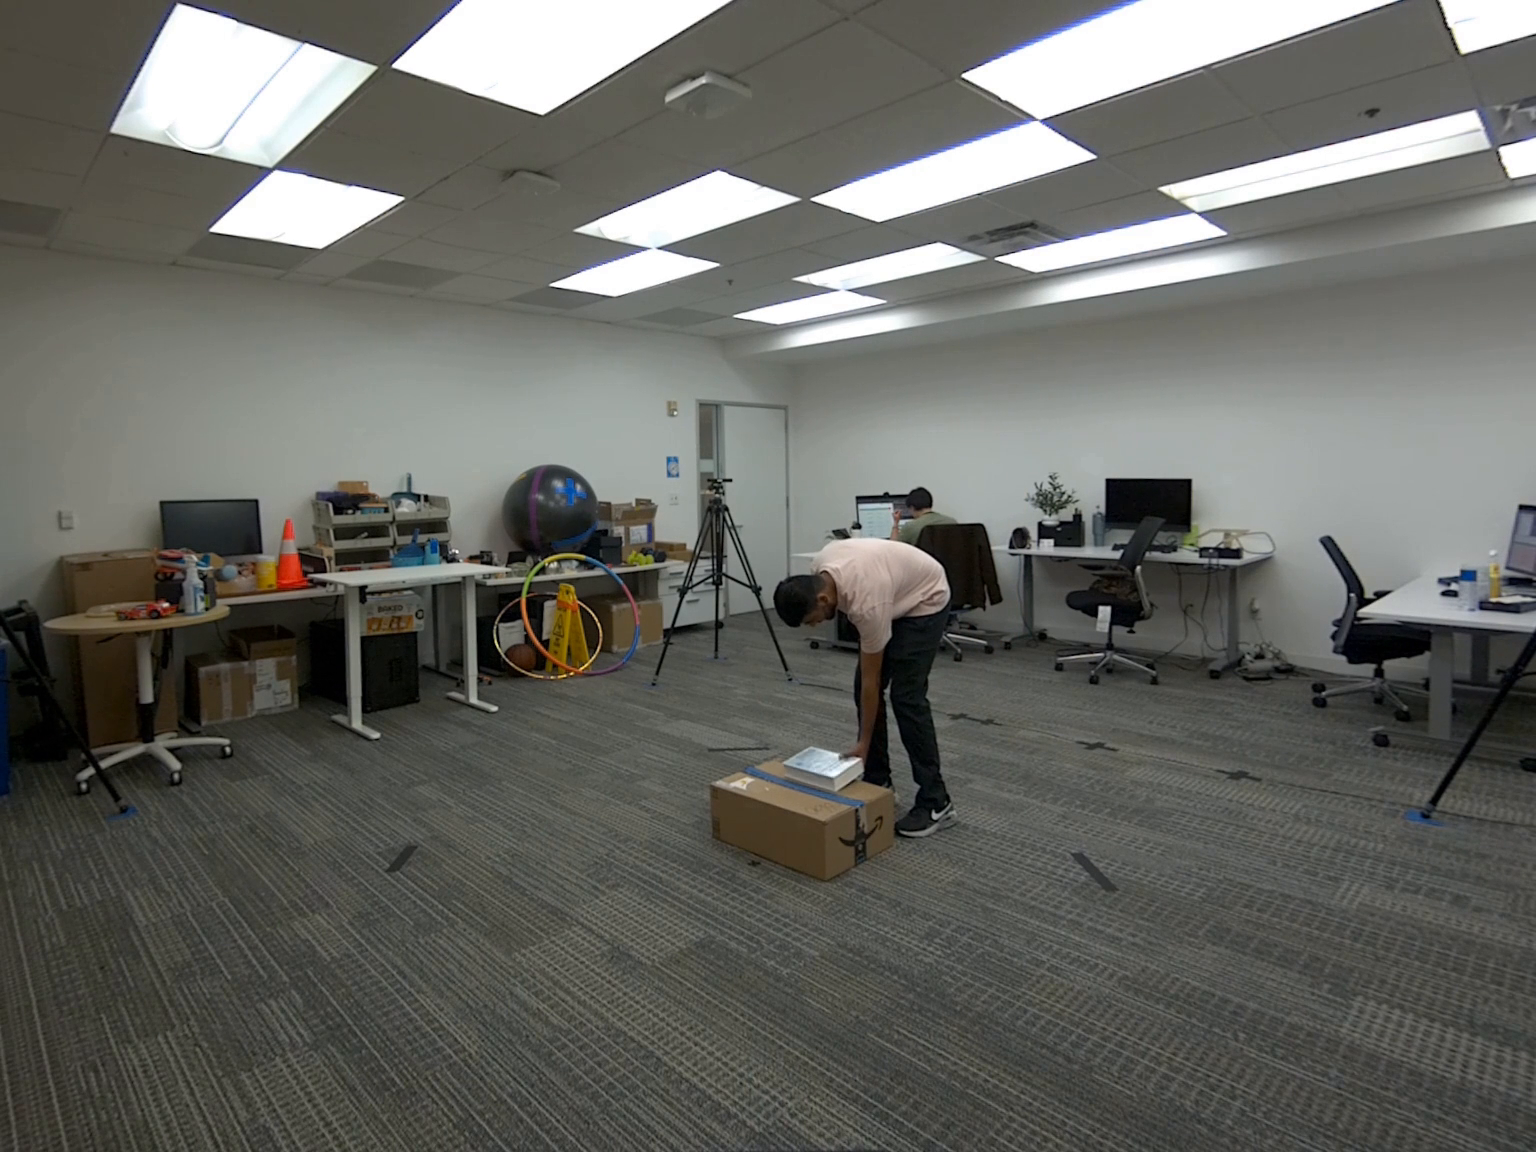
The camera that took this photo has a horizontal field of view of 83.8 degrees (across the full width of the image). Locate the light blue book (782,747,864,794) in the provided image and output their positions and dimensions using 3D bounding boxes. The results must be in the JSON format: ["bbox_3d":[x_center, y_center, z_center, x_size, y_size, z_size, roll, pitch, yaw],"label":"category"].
[{"bbox_3d":[0.219,0.757,3.375,0.269,0.058,0.188,4,17,44],"label":"light blue book"}]
